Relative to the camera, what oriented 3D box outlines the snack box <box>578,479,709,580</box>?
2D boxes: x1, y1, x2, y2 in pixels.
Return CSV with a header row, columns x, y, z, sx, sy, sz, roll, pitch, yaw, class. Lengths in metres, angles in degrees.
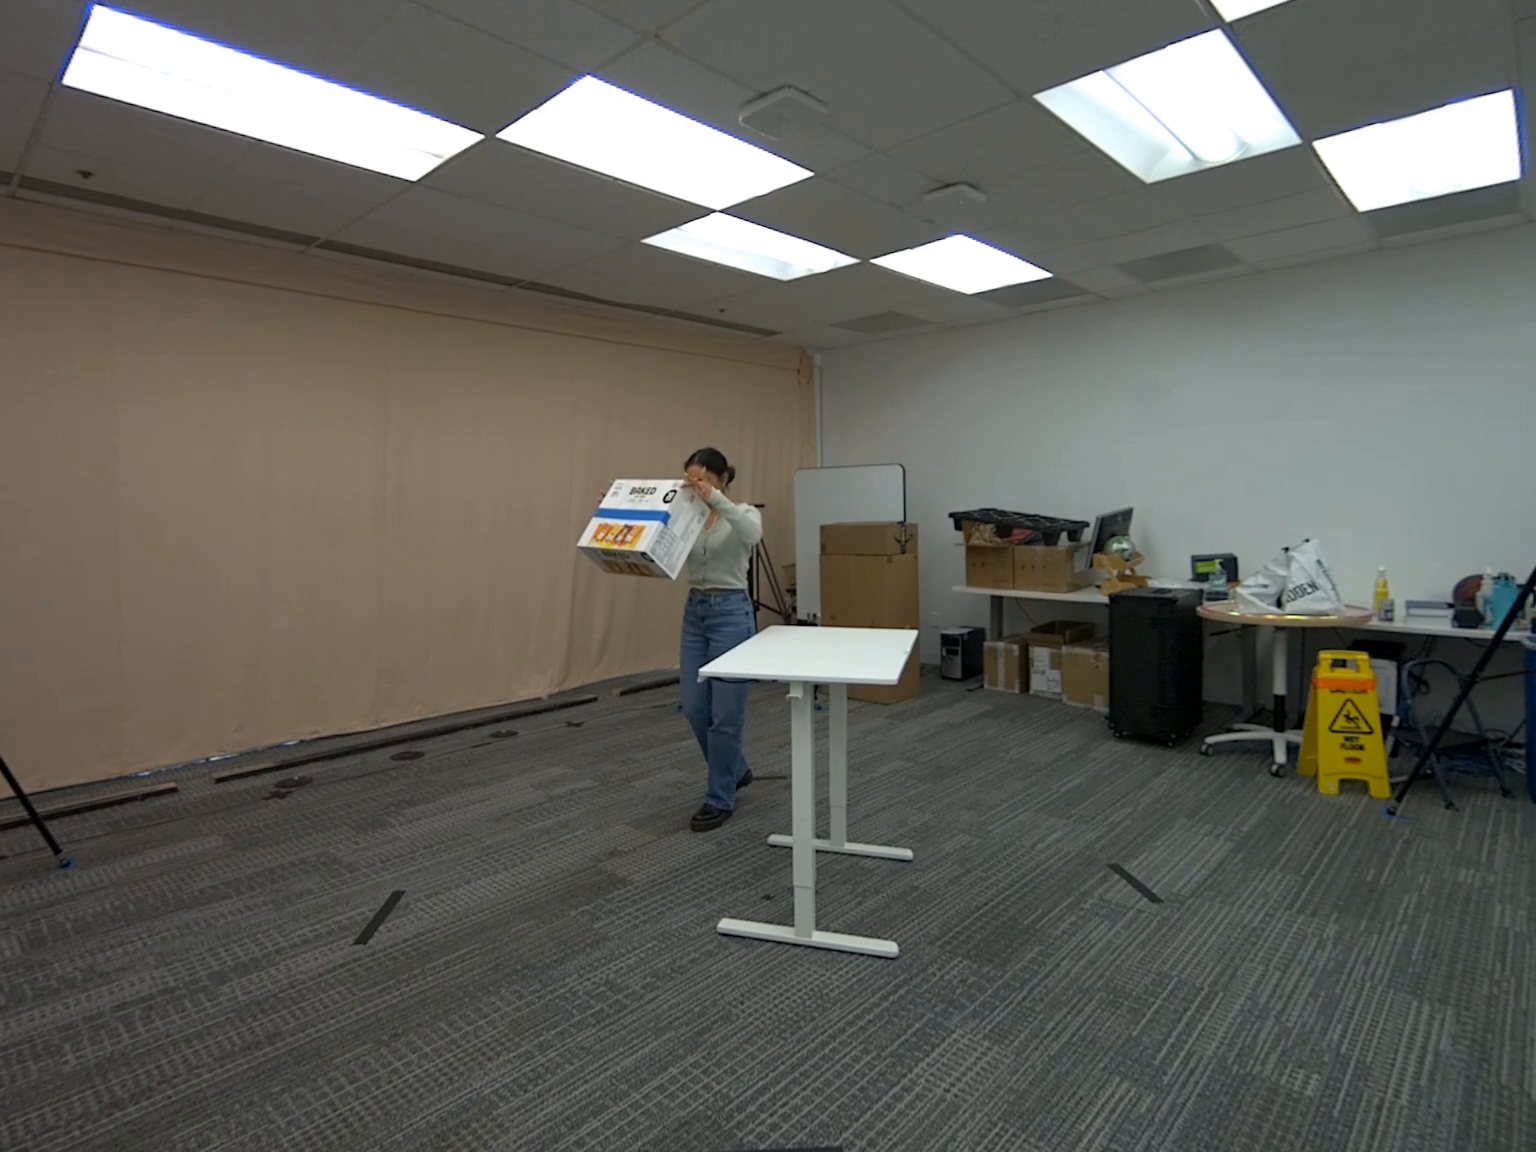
x,y,z,sx,sy,sz,roll,pitch,yaw,class
-0.497,-0.186,3.387,0.419,0.341,0.198,5,-30,40,snack box
